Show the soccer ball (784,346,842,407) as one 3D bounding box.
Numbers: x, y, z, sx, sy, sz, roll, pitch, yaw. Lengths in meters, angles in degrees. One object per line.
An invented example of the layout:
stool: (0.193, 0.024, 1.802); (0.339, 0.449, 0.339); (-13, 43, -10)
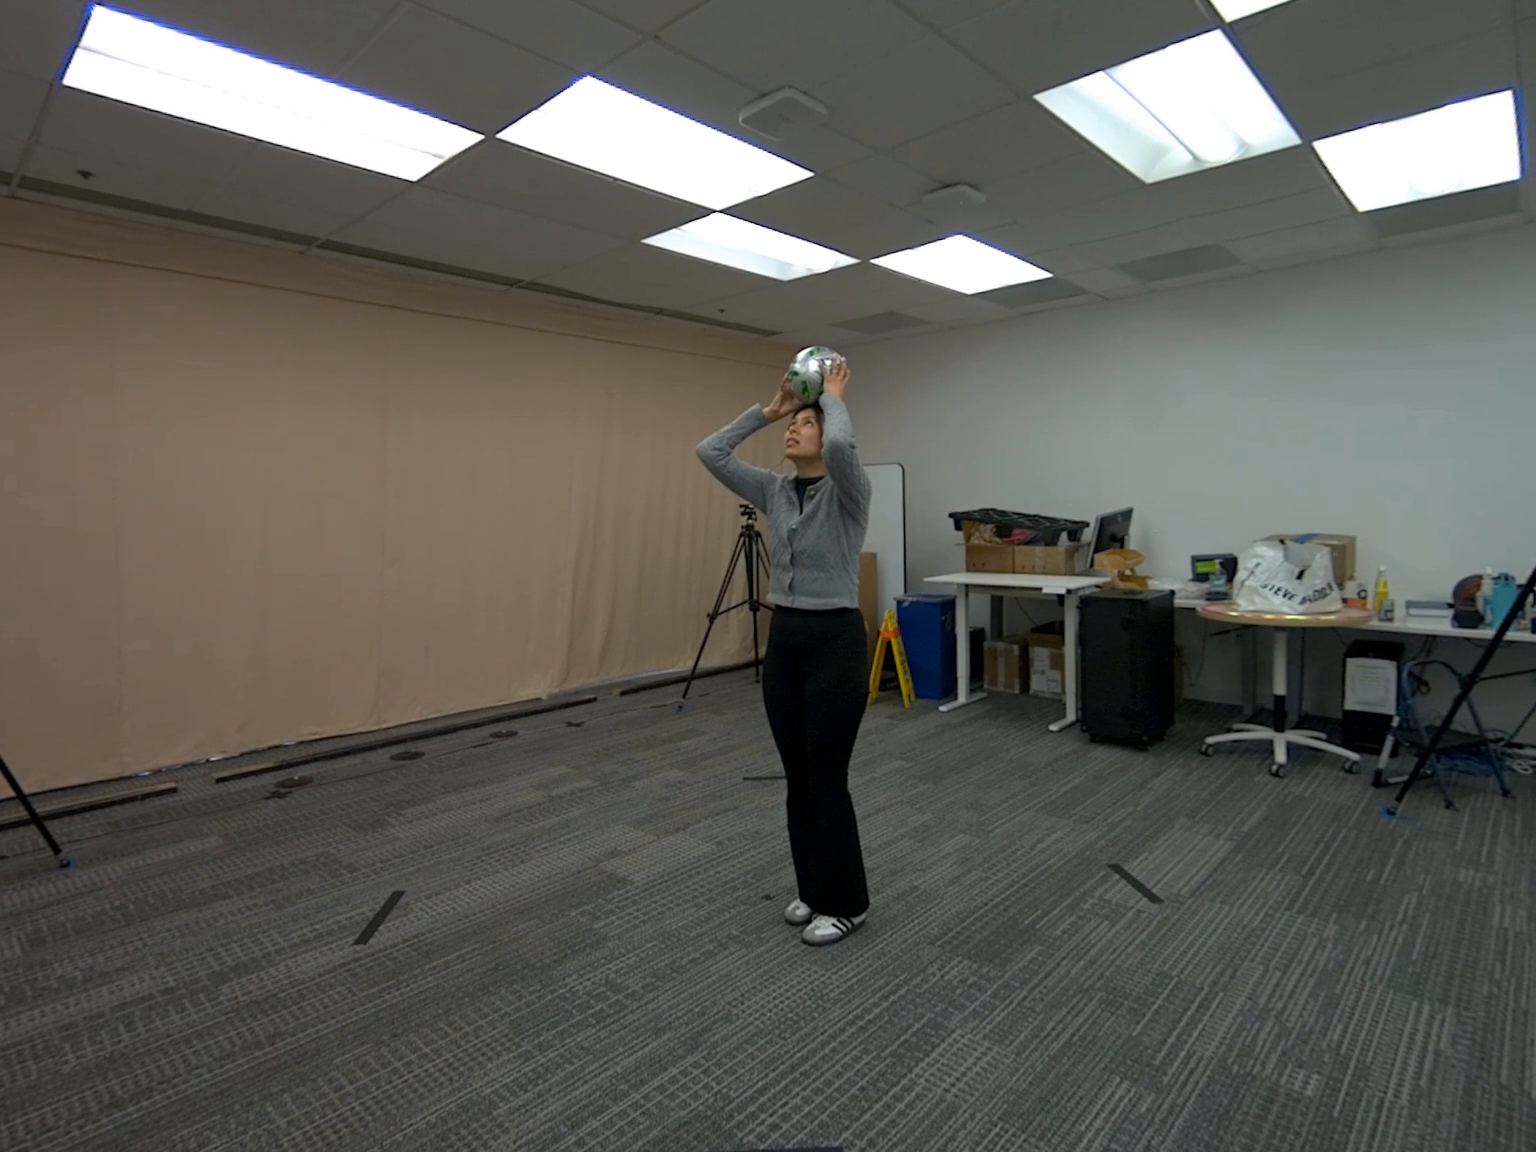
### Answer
soccer ball: (0.156, -0.635, 2.682); (0.187, 0.187, 0.188); (-1, 4, -2)
